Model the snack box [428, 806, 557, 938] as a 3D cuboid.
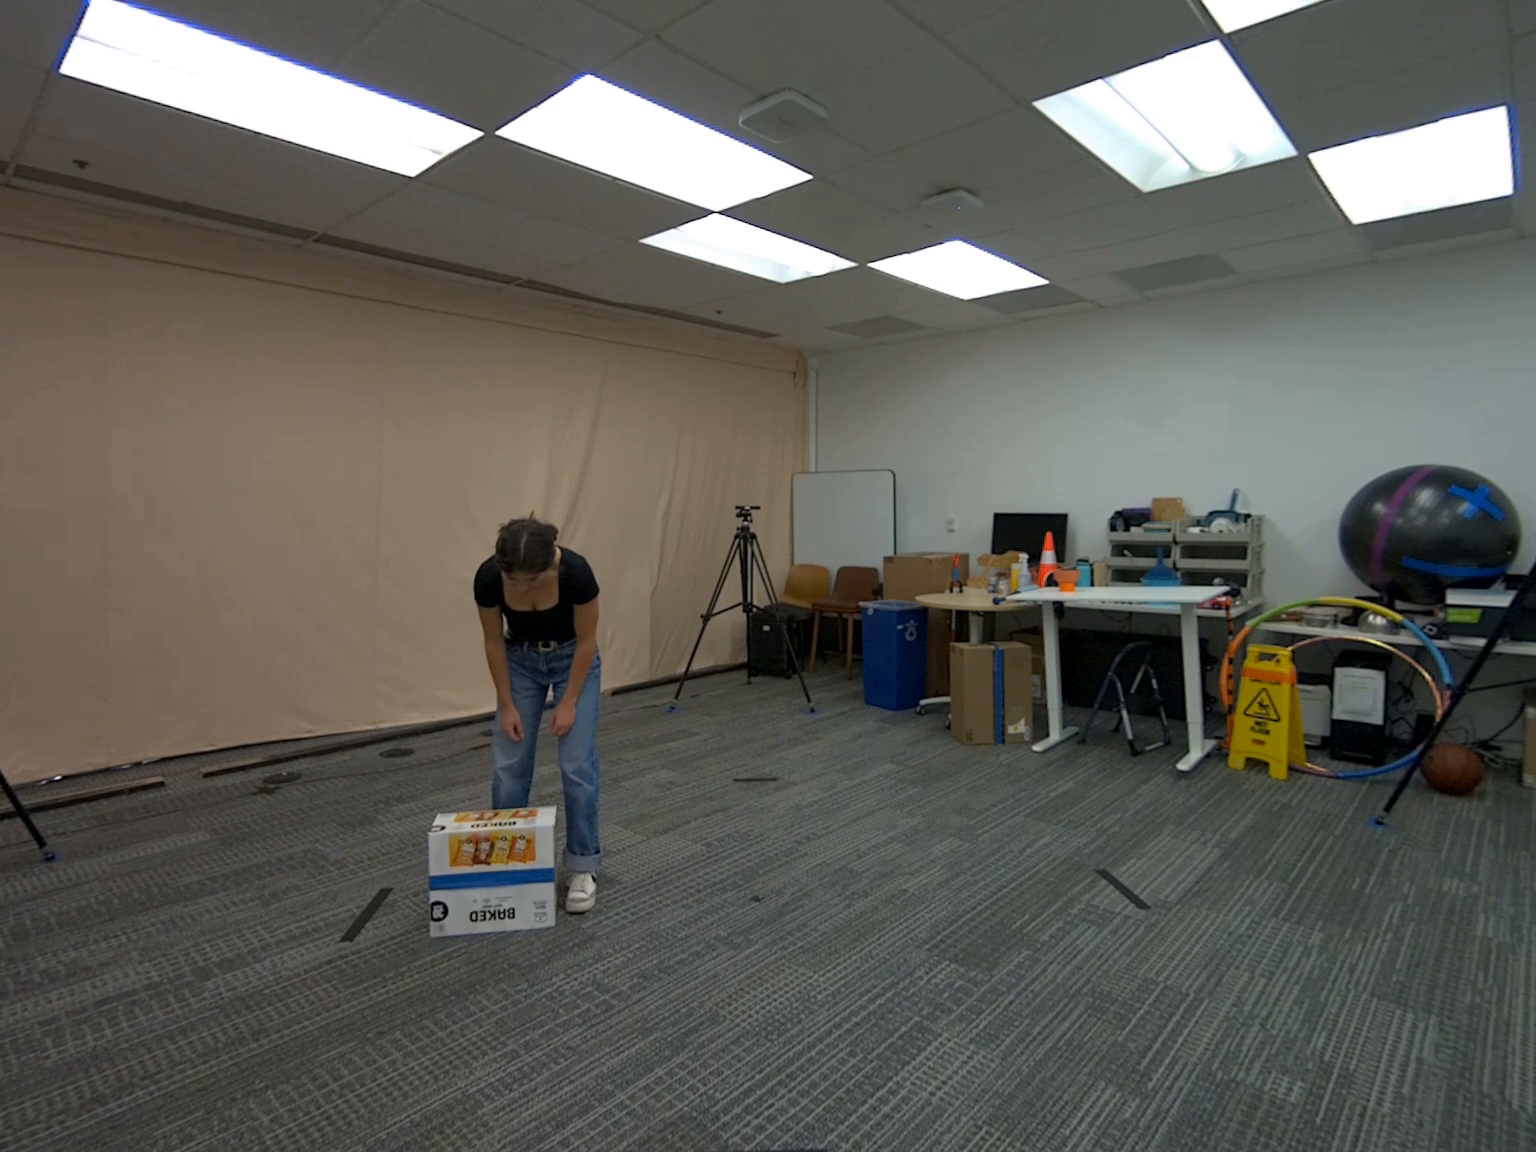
[{"bbox_3d":[-0.916,0.989,2.859,0.400,0.340,0.208,-2,1,-11],"label":"snack box"}]
